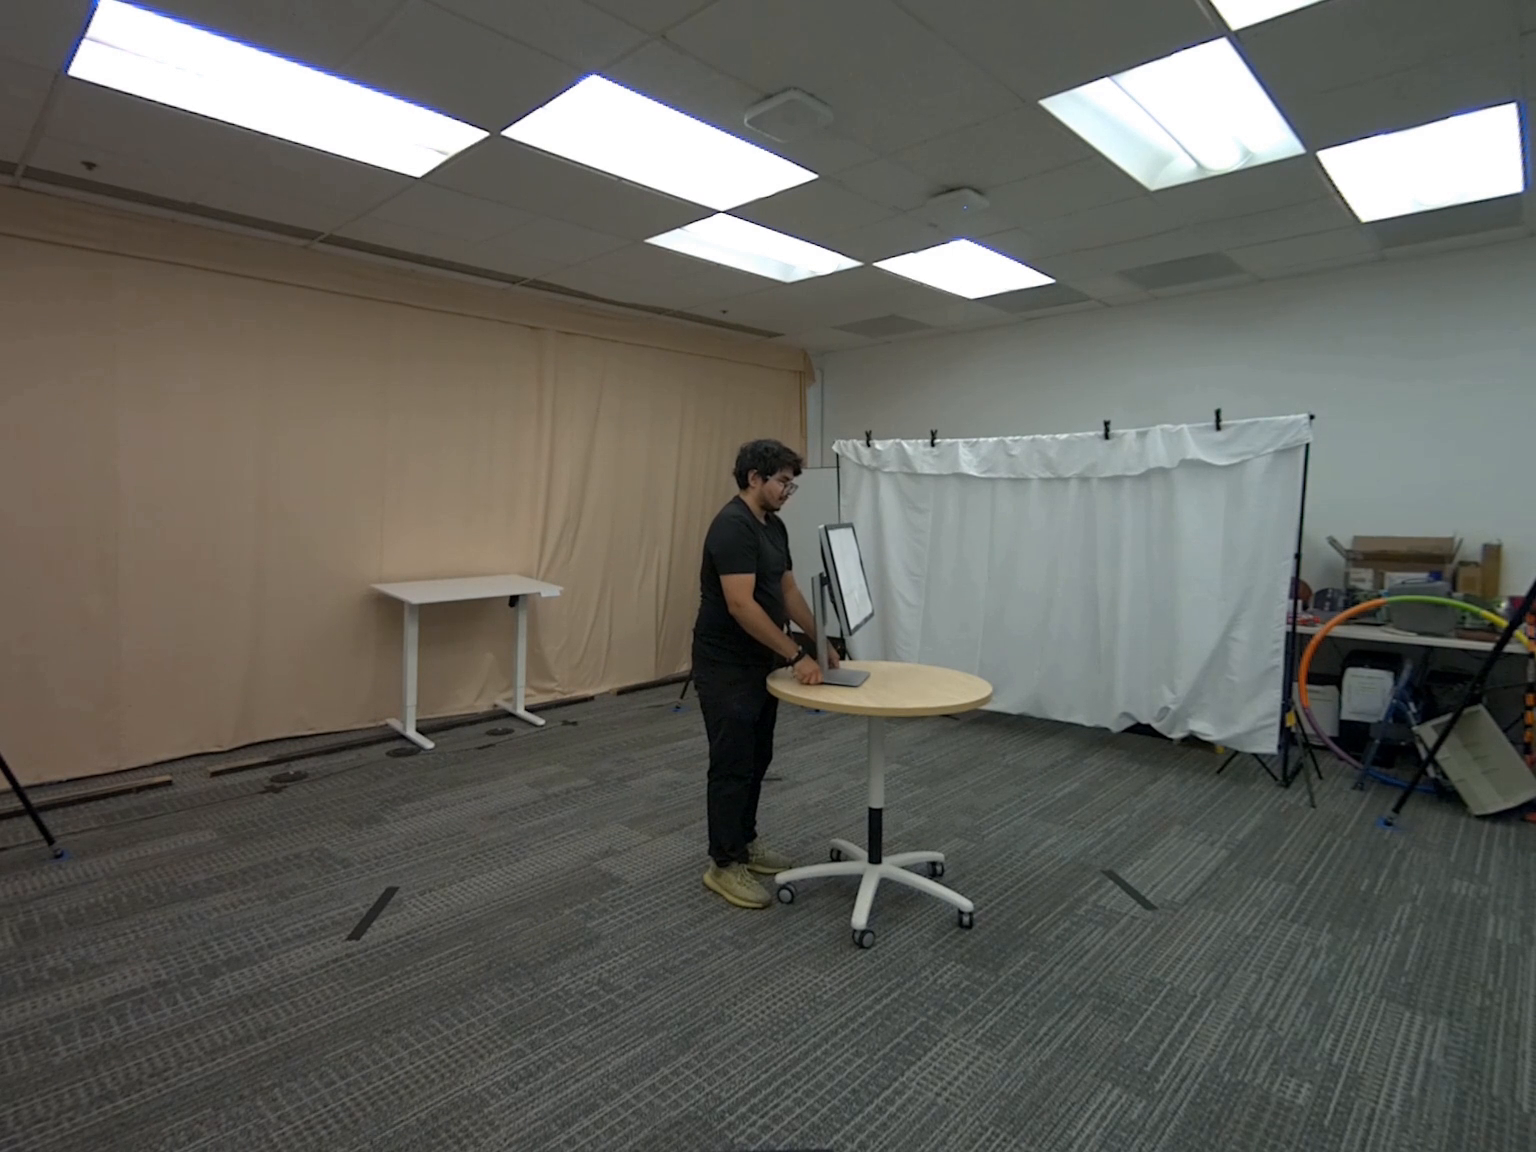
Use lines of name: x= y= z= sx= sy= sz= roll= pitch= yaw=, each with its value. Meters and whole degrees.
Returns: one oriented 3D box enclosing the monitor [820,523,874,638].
monitor: x=0.228 y=0.095 z=2.952 sx=0.214 sy=0.553 sz=0.556 roll=-5 pitch=2 yaw=16
